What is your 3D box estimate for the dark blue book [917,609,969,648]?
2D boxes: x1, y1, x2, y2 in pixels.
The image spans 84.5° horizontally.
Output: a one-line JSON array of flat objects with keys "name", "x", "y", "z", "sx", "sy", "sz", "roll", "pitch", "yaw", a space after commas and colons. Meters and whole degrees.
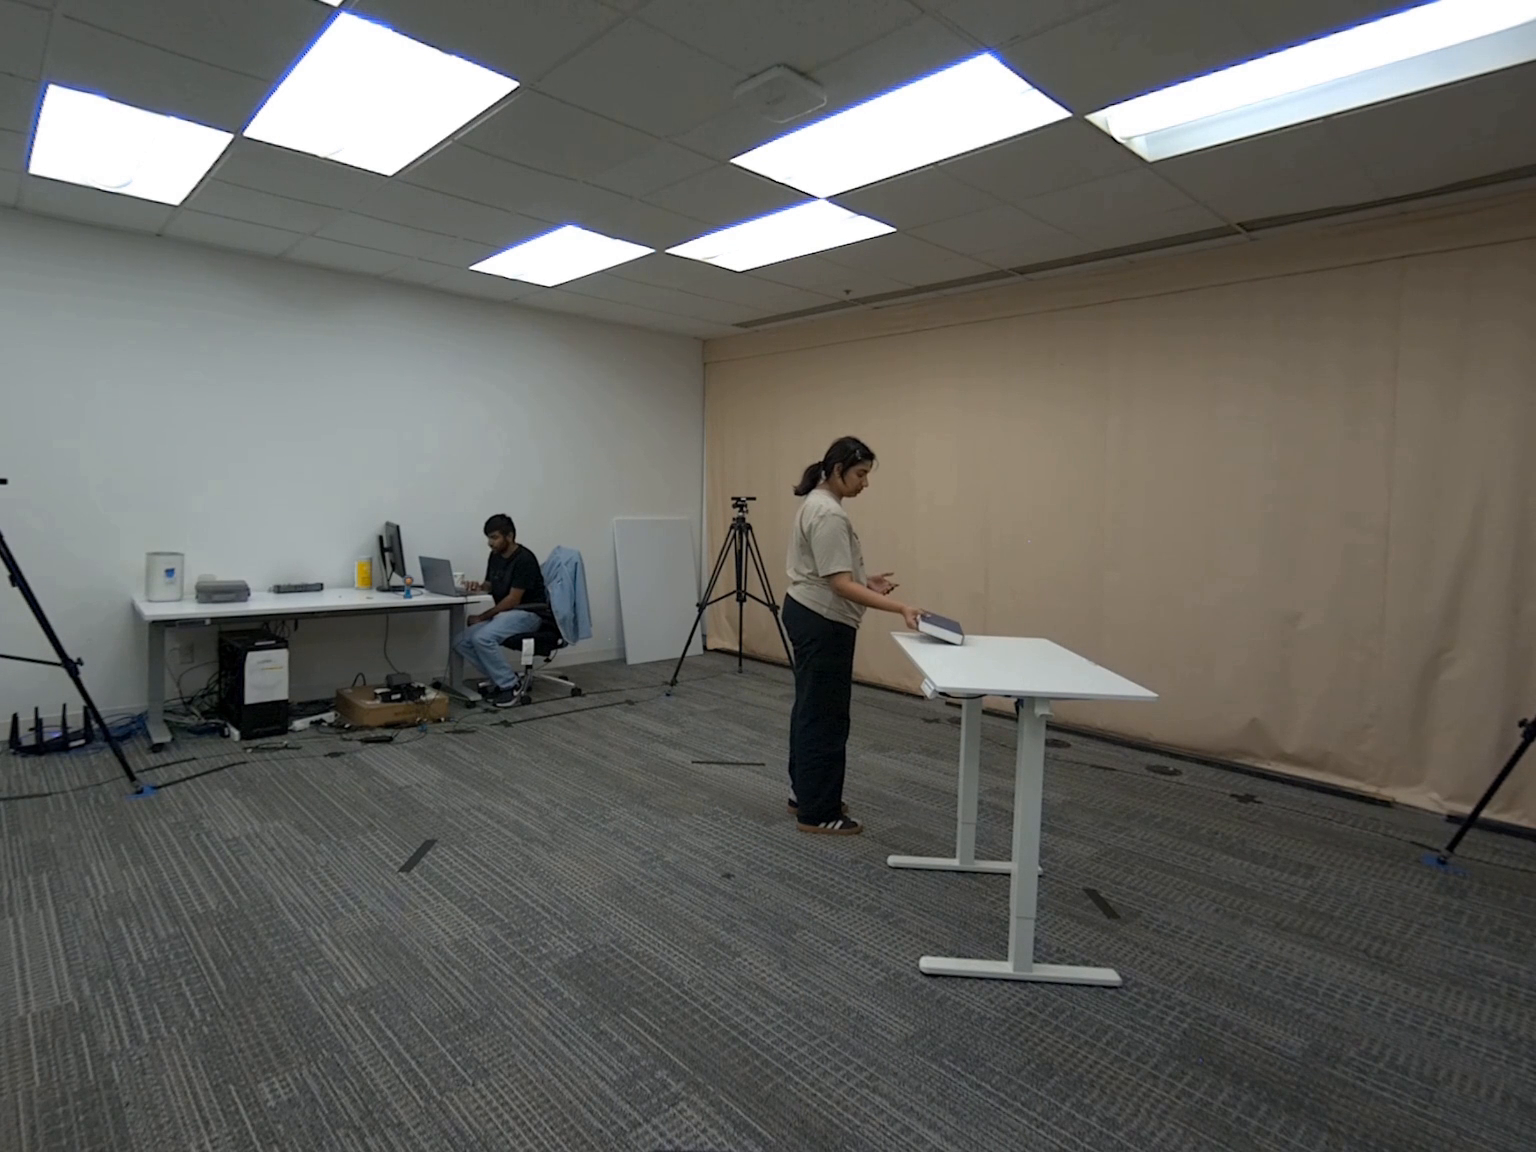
[{"name": "dark blue book", "x": 0.647, "y": 0.192, "z": 3.164, "sx": 0.164, "sy": 0.045, "sz": 0.244, "roll": 19, "pitch": 9, "yaw": 6}]
